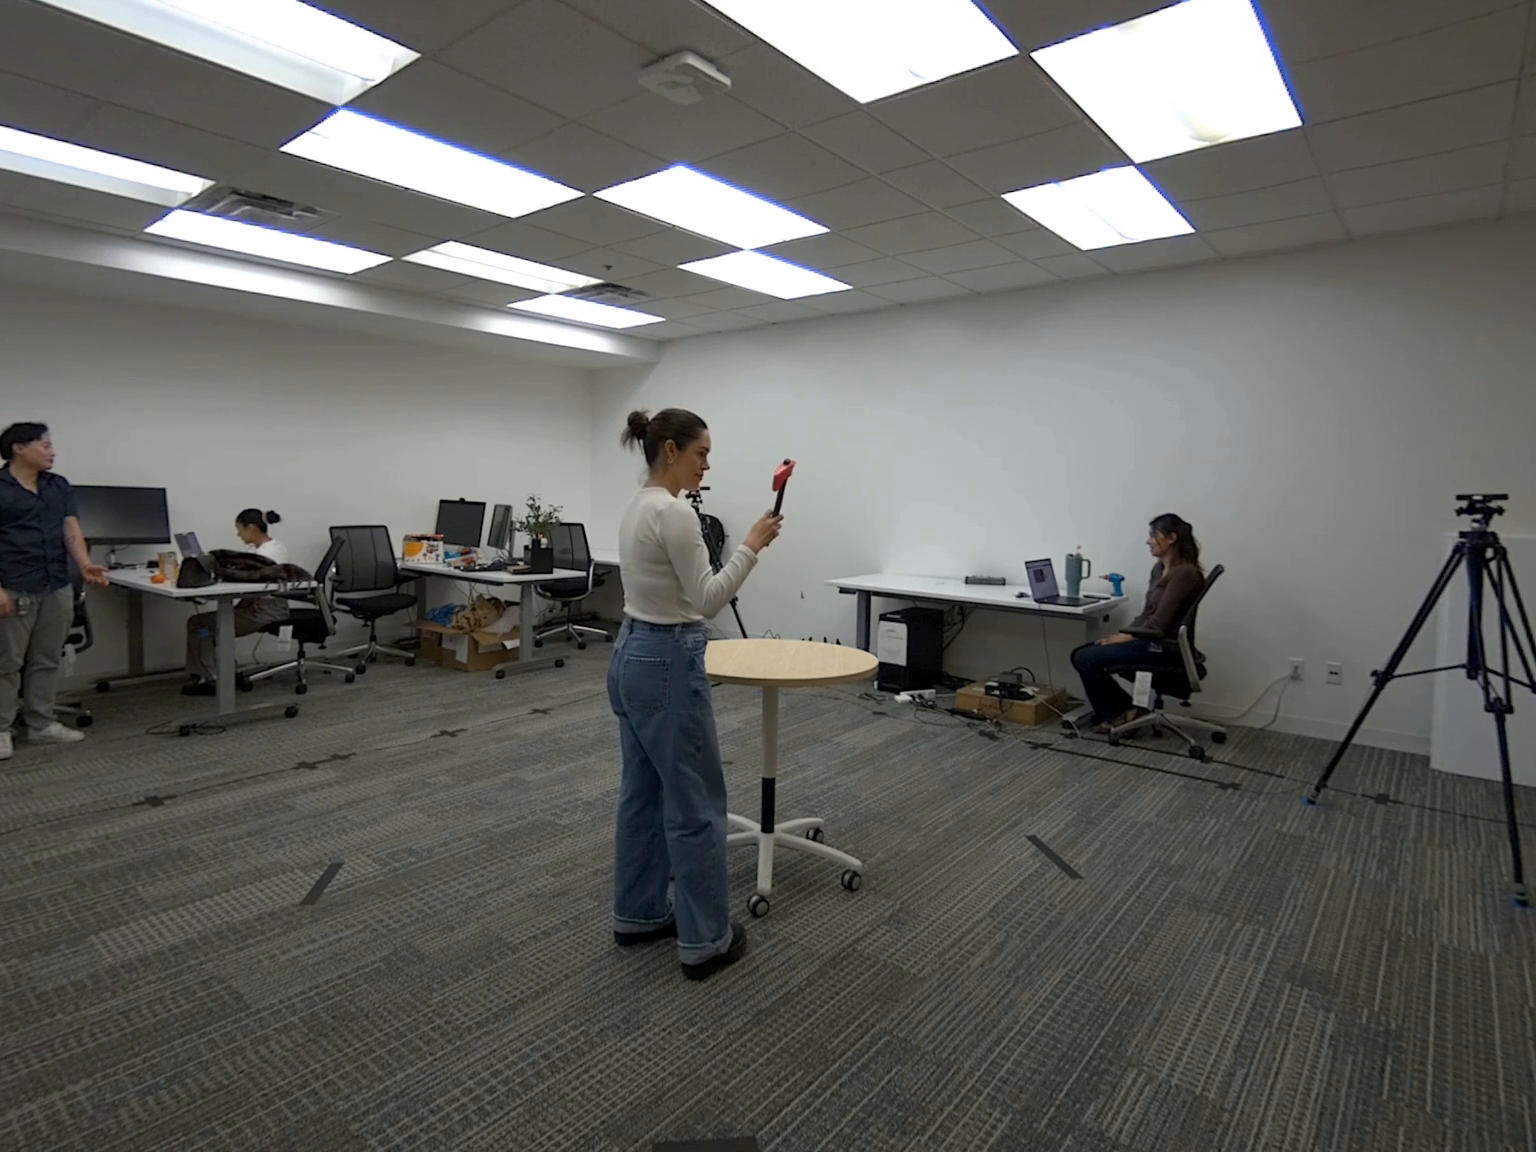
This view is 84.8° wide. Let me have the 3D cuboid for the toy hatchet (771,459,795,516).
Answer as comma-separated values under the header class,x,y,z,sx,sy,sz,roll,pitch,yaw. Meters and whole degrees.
class,x,y,z,sx,sy,sz,roll,pitch,yaw
toy hatchet,0.007,-0.210,2.419,0.030,0.268,0.129,24,13,15
